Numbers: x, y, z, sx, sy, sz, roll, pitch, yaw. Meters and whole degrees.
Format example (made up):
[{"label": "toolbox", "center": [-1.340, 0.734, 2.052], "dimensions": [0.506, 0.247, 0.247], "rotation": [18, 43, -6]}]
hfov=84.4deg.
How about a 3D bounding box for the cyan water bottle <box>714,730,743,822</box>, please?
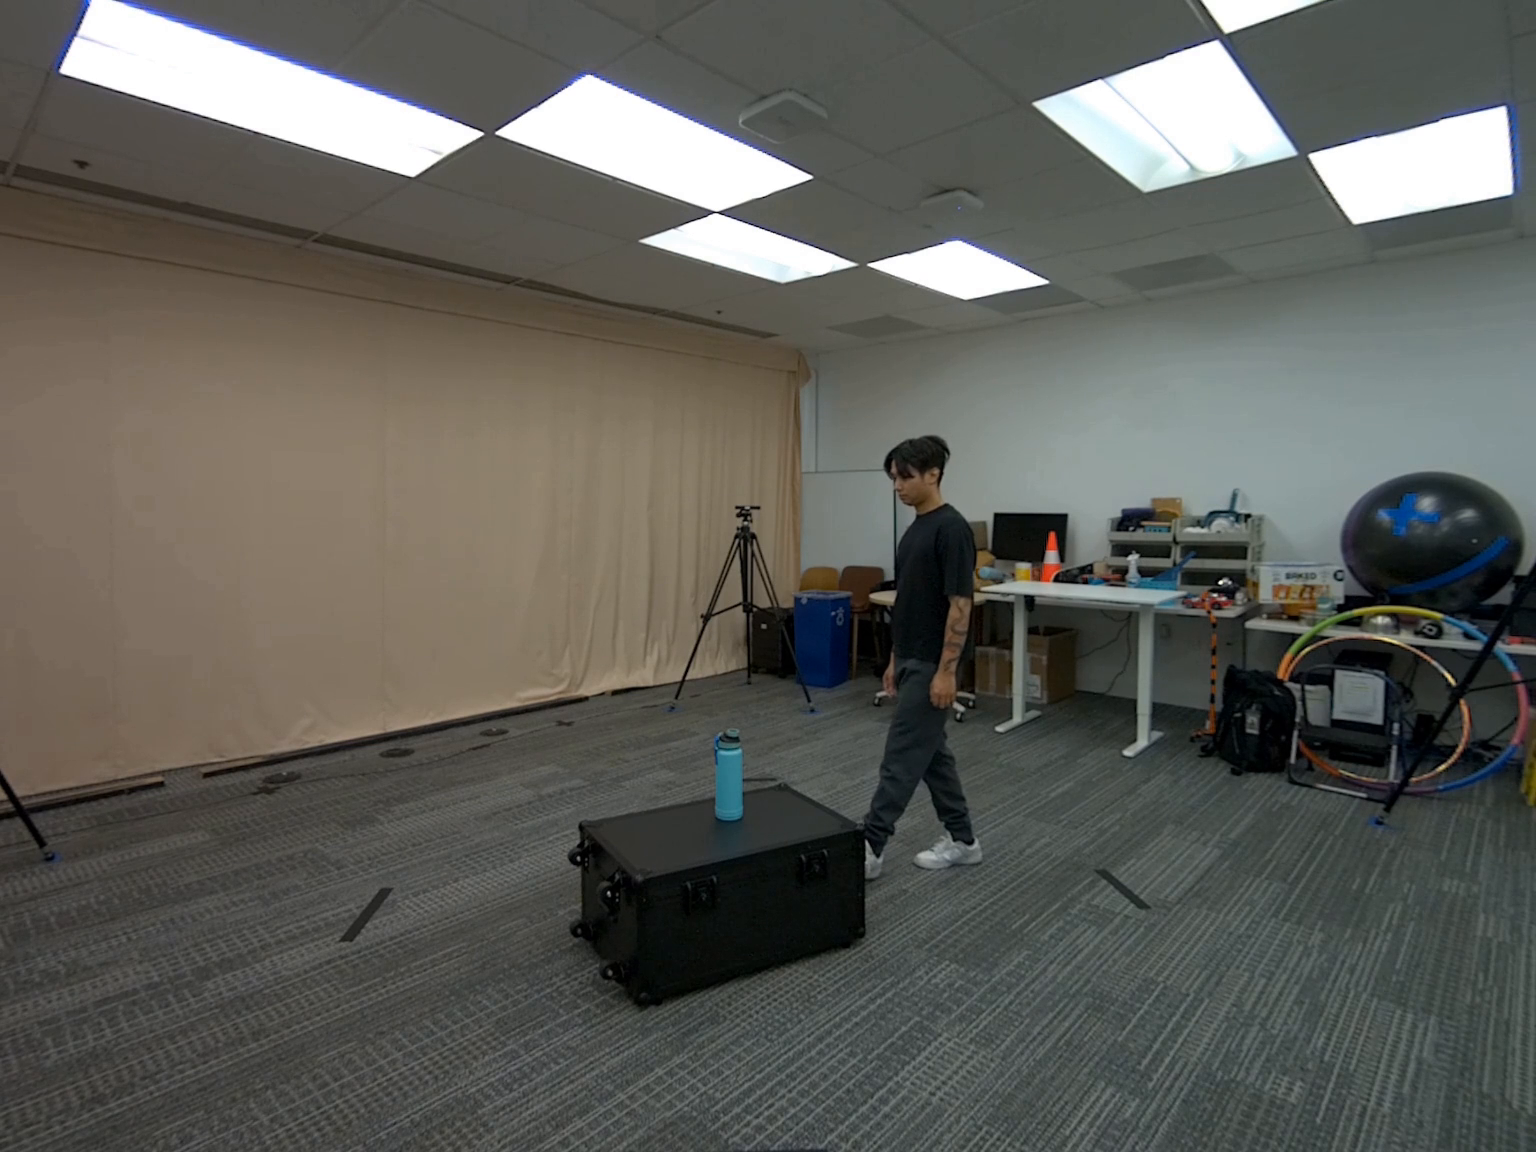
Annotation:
[{"label": "cyan water bottle", "center": [-0.127, 0.651, 2.755], "dimensions": [0.092, 0.283, 0.092], "rotation": [-2, 3, -2]}]
